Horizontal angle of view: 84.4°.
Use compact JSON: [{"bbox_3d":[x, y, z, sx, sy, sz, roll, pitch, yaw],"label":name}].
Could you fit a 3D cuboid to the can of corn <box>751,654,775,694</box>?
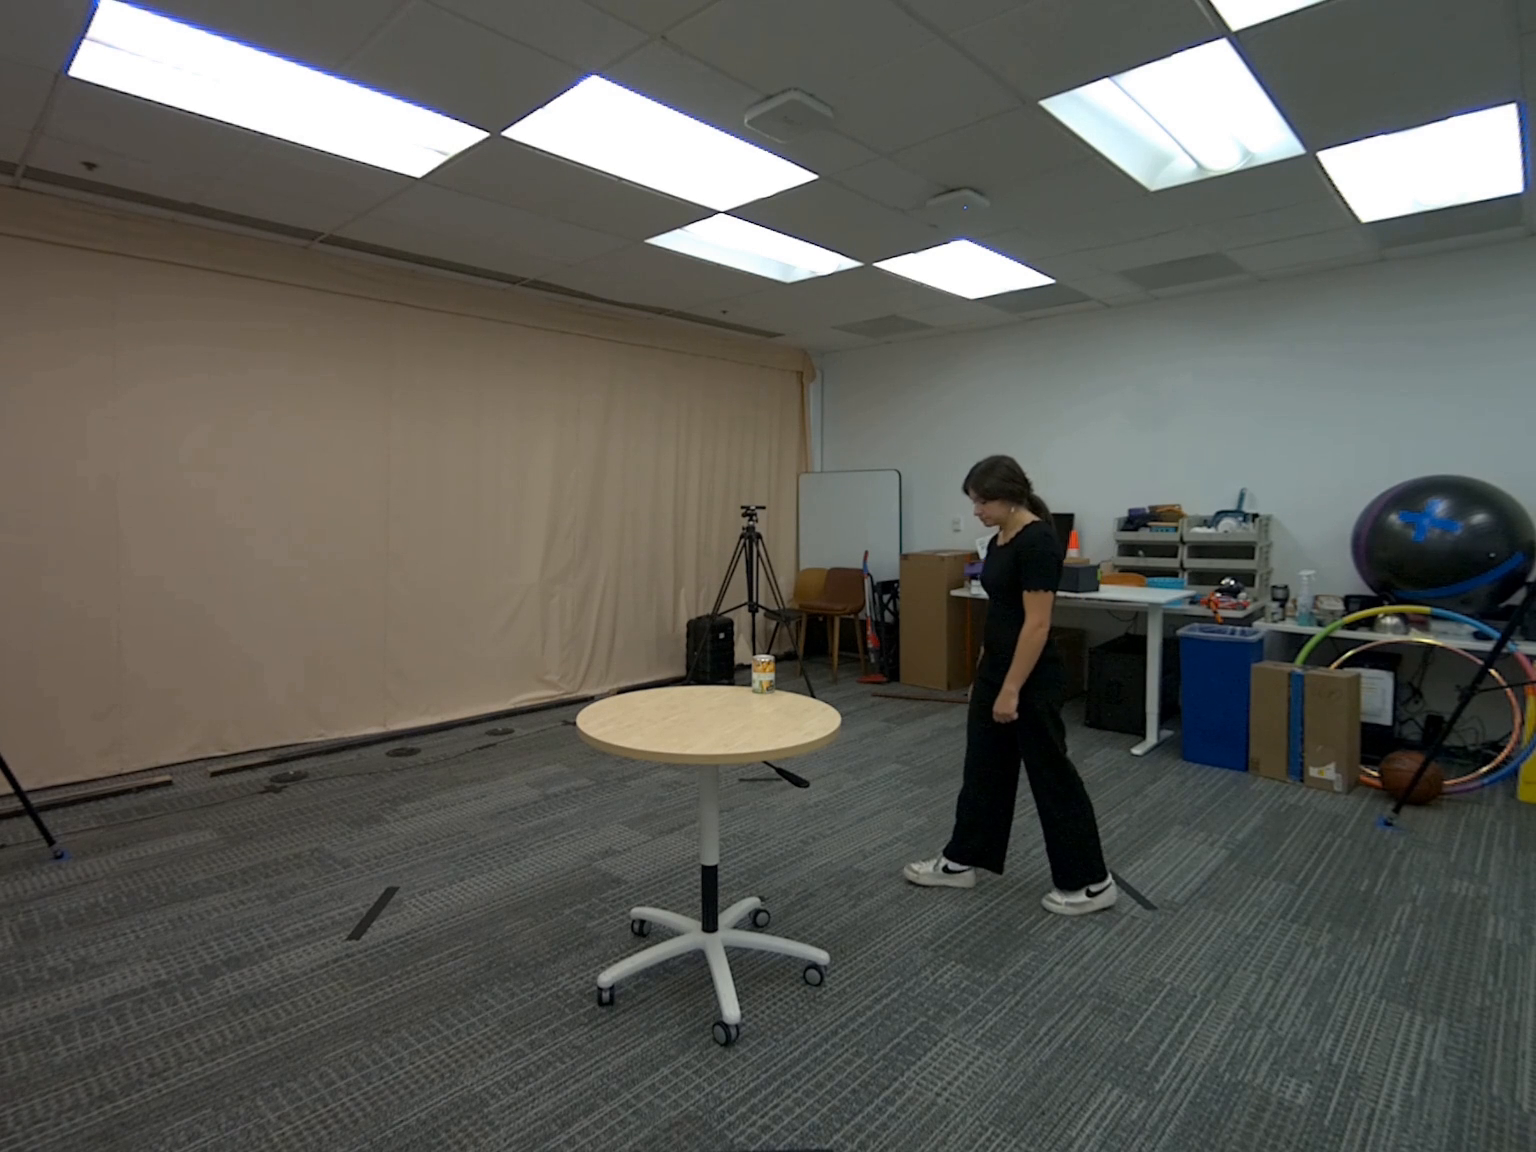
[{"bbox_3d":[-0.005,0.326,2.744,0.074,0.111,0.074,0,4,-2],"label":"can of corn"}]
